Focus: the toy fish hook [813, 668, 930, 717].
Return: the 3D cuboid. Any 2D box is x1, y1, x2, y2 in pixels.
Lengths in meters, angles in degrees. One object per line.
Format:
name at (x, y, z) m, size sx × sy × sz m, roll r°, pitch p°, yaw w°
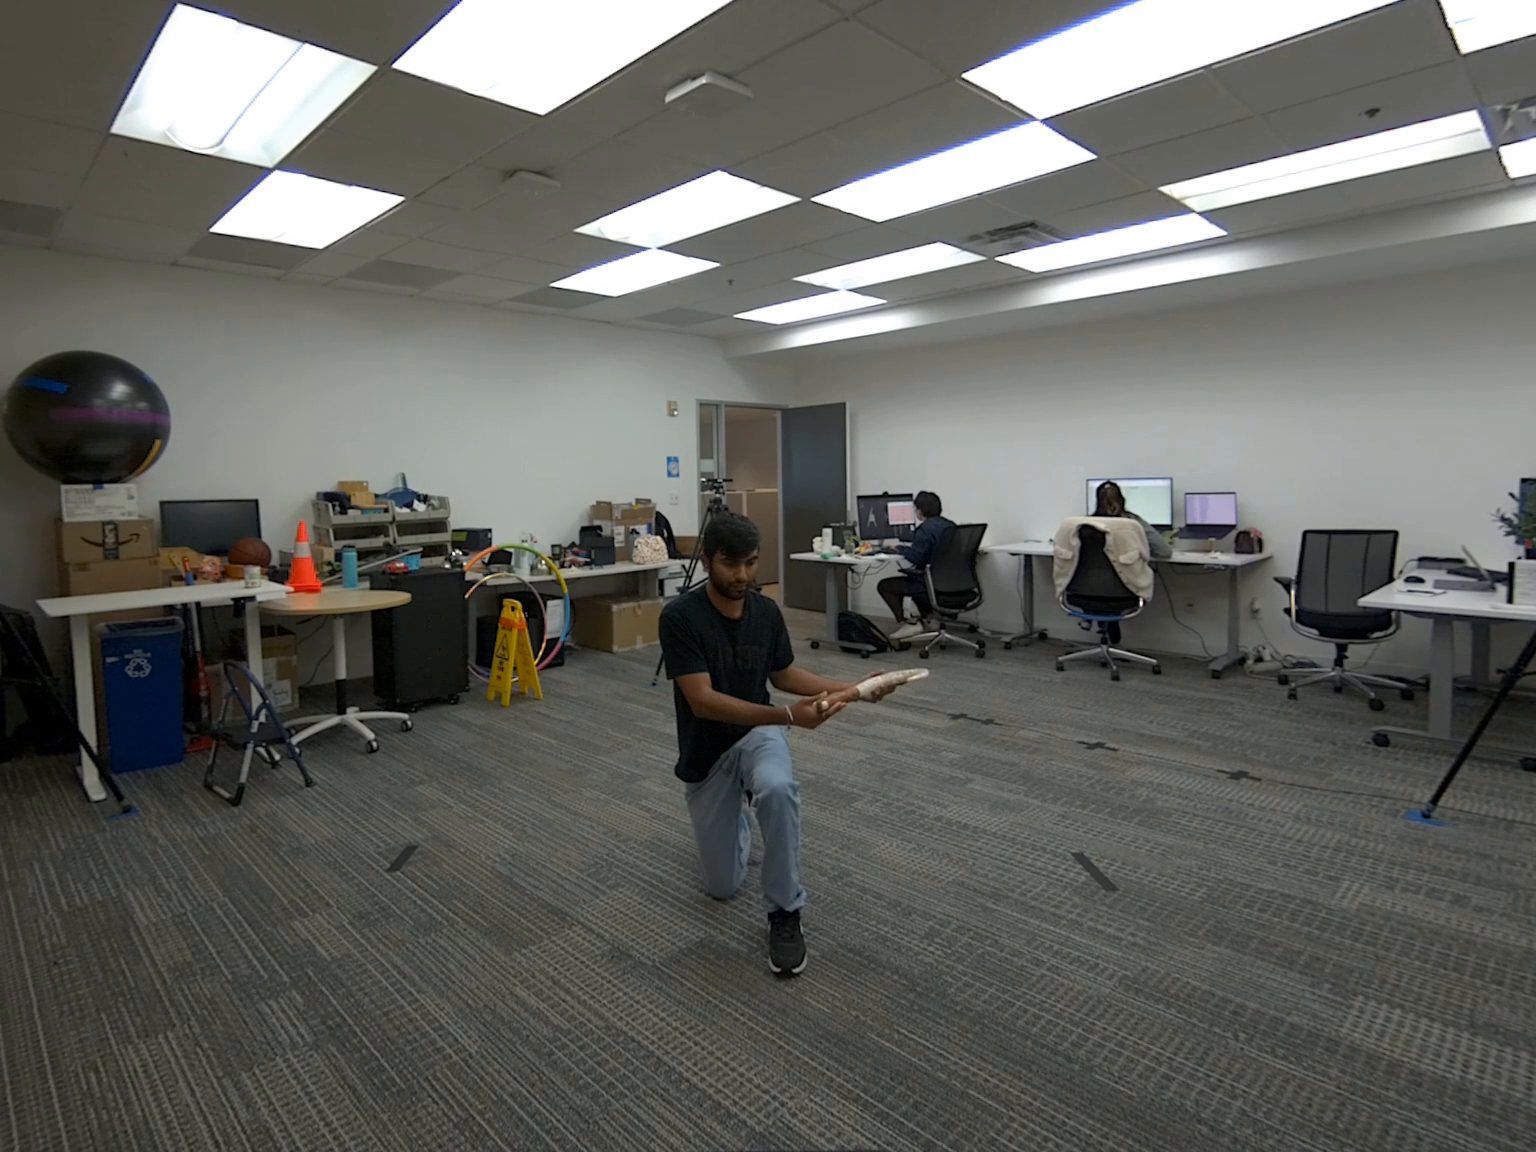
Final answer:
toy fish hook at (0.327, 0.341, 2.619) m, size 0.227 × 0.049 × 0.494 m, roll -25°, pitch -10°, yaw 36°
